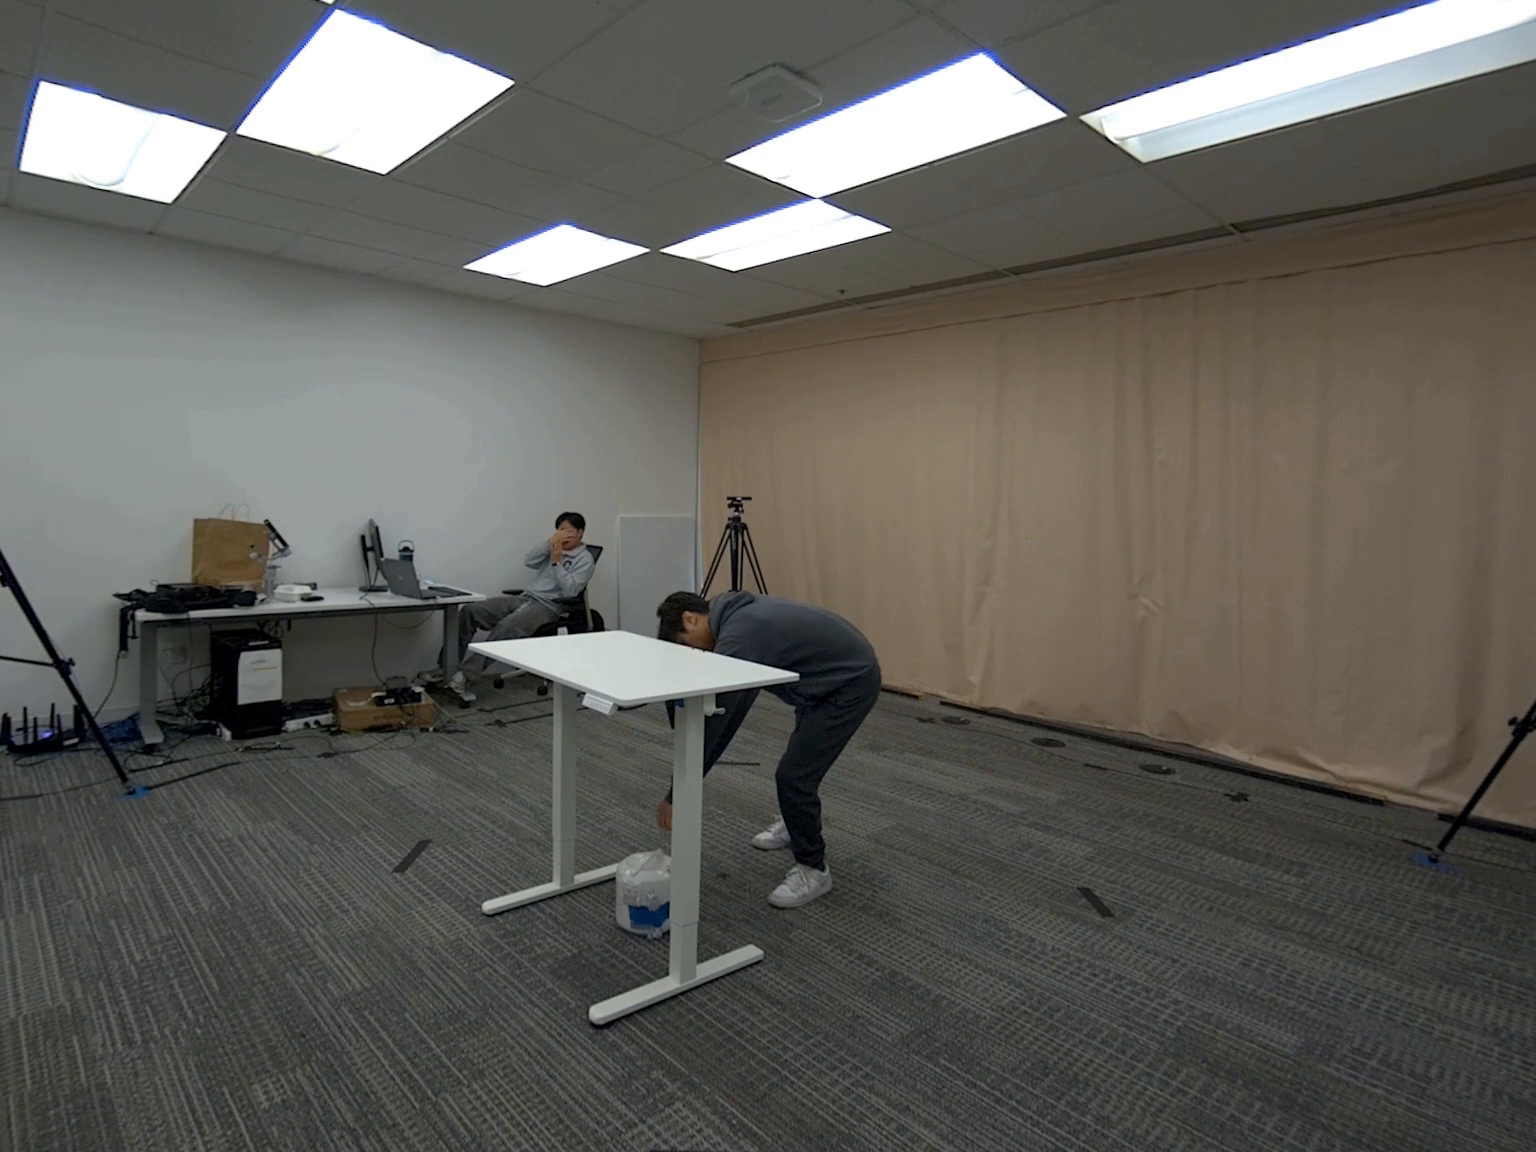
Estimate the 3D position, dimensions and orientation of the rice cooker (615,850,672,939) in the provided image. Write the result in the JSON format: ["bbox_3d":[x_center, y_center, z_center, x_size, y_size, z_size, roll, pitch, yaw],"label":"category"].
[{"bbox_3d":[-0.396,1.017,2.733,0.222,0.232,0.216,5,5,28],"label":"rice cooker"}]
